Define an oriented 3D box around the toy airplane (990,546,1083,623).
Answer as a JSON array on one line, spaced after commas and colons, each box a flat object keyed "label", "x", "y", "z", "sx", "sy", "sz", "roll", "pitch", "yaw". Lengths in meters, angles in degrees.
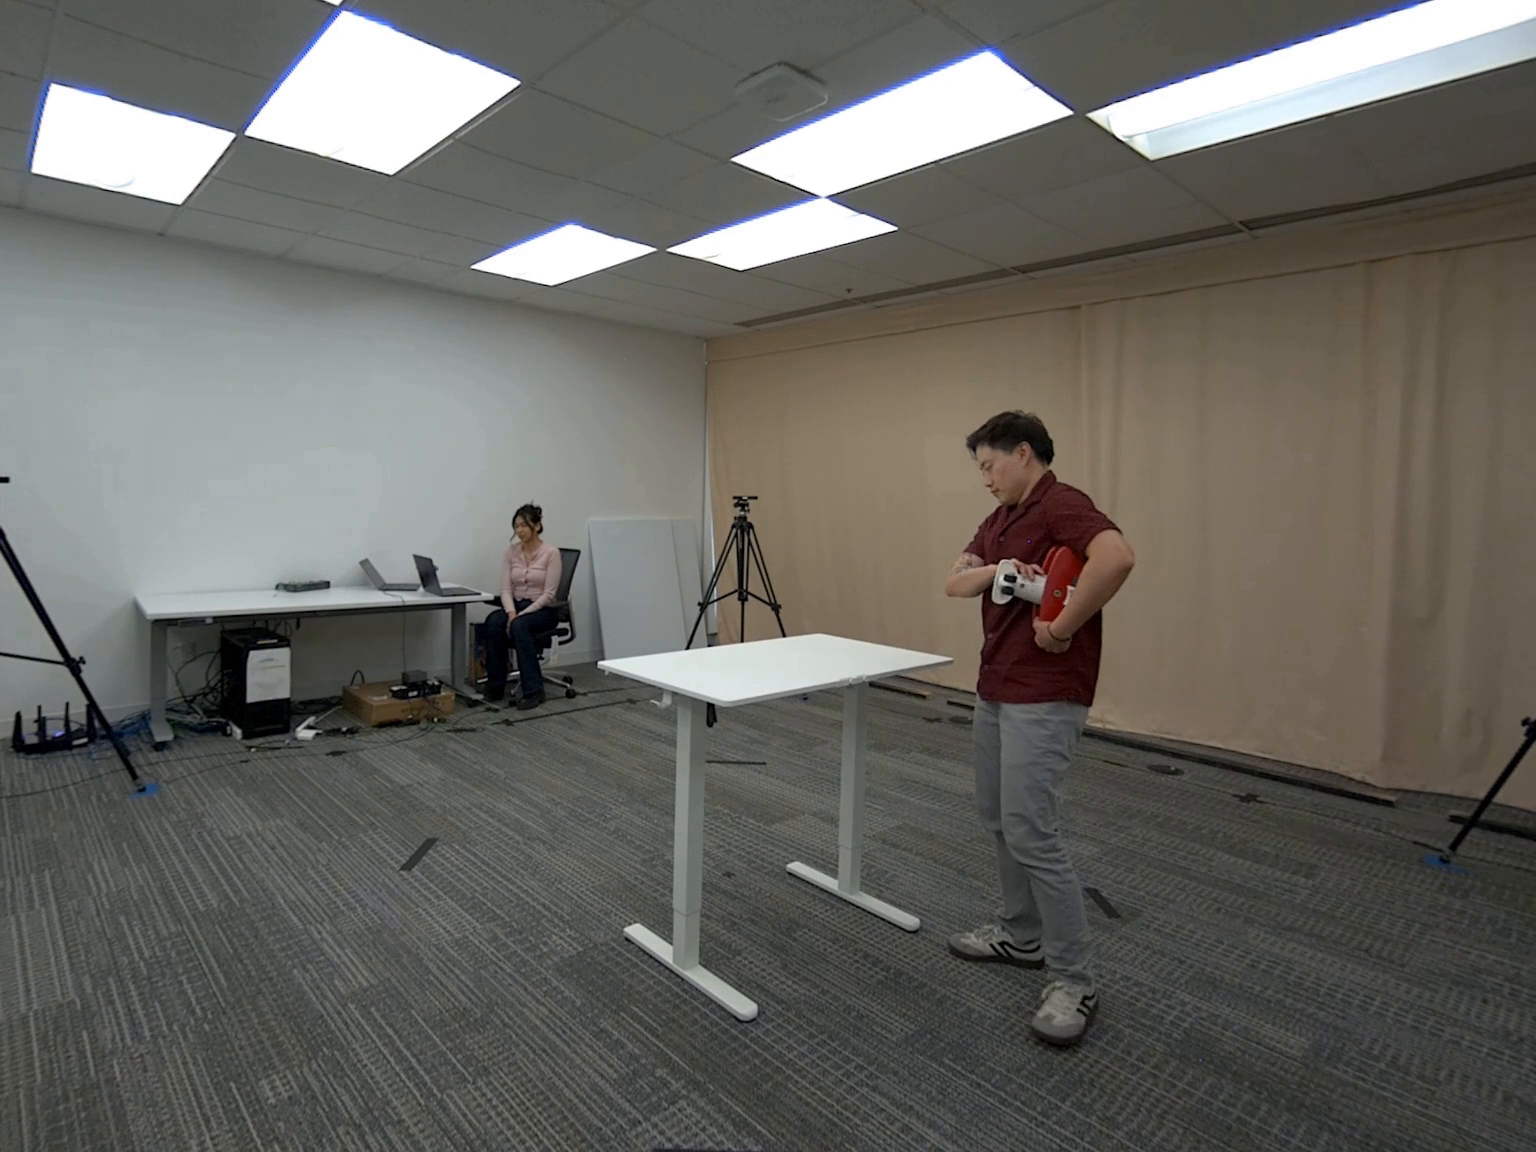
[{"label": "toy airplane", "x": 0.737, "y": 0.029, "z": 2.260, "sx": 0.263, "sy": 0.250, "sz": 0.154, "roll": 36, "pitch": 11, "yaw": 14}]
